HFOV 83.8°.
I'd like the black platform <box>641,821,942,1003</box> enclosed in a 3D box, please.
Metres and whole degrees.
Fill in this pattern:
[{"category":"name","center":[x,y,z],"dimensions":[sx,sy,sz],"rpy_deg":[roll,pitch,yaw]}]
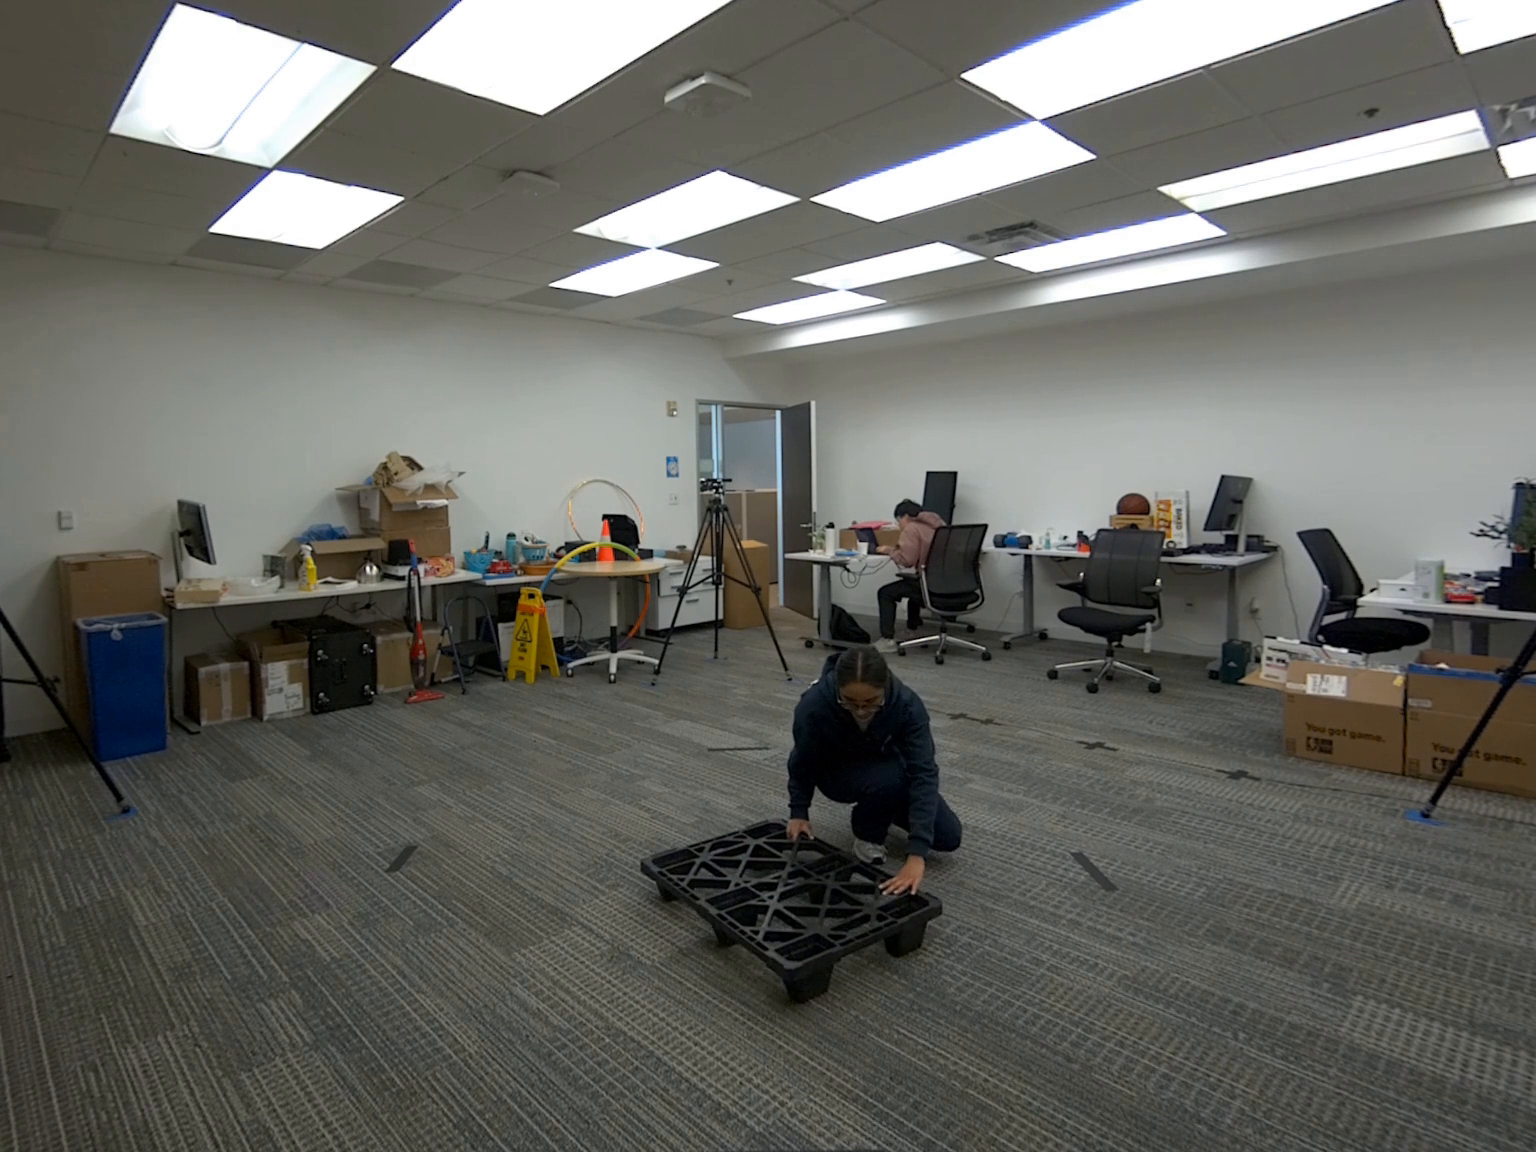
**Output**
[{"category":"black platform","center":[0.050,1.022,2.705],"dimensions":[0.590,0.142,0.830],"rpy_deg":[-5,8,-36]}]
